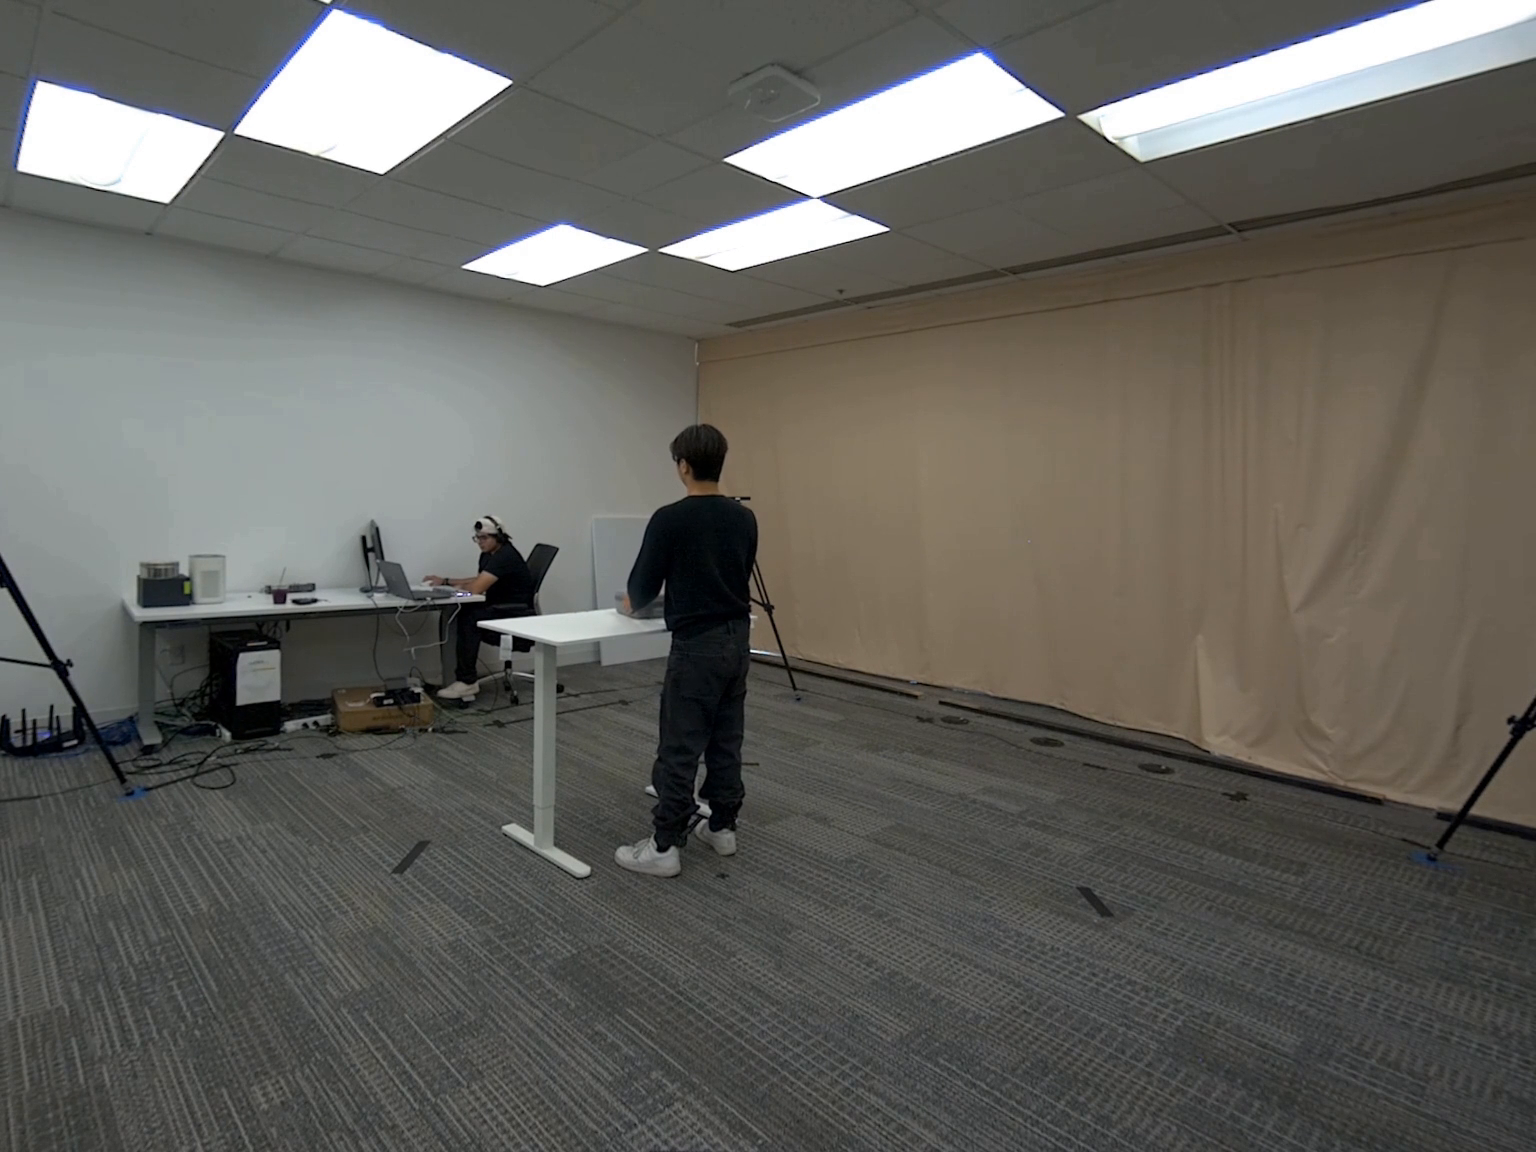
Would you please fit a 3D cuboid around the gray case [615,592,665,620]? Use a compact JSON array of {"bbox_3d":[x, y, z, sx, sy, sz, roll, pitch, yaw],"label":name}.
[{"bbox_3d":[-0.511,0.115,3.646,0.251,0.104,0.267,-1,5,-33],"label":"gray case"}]
